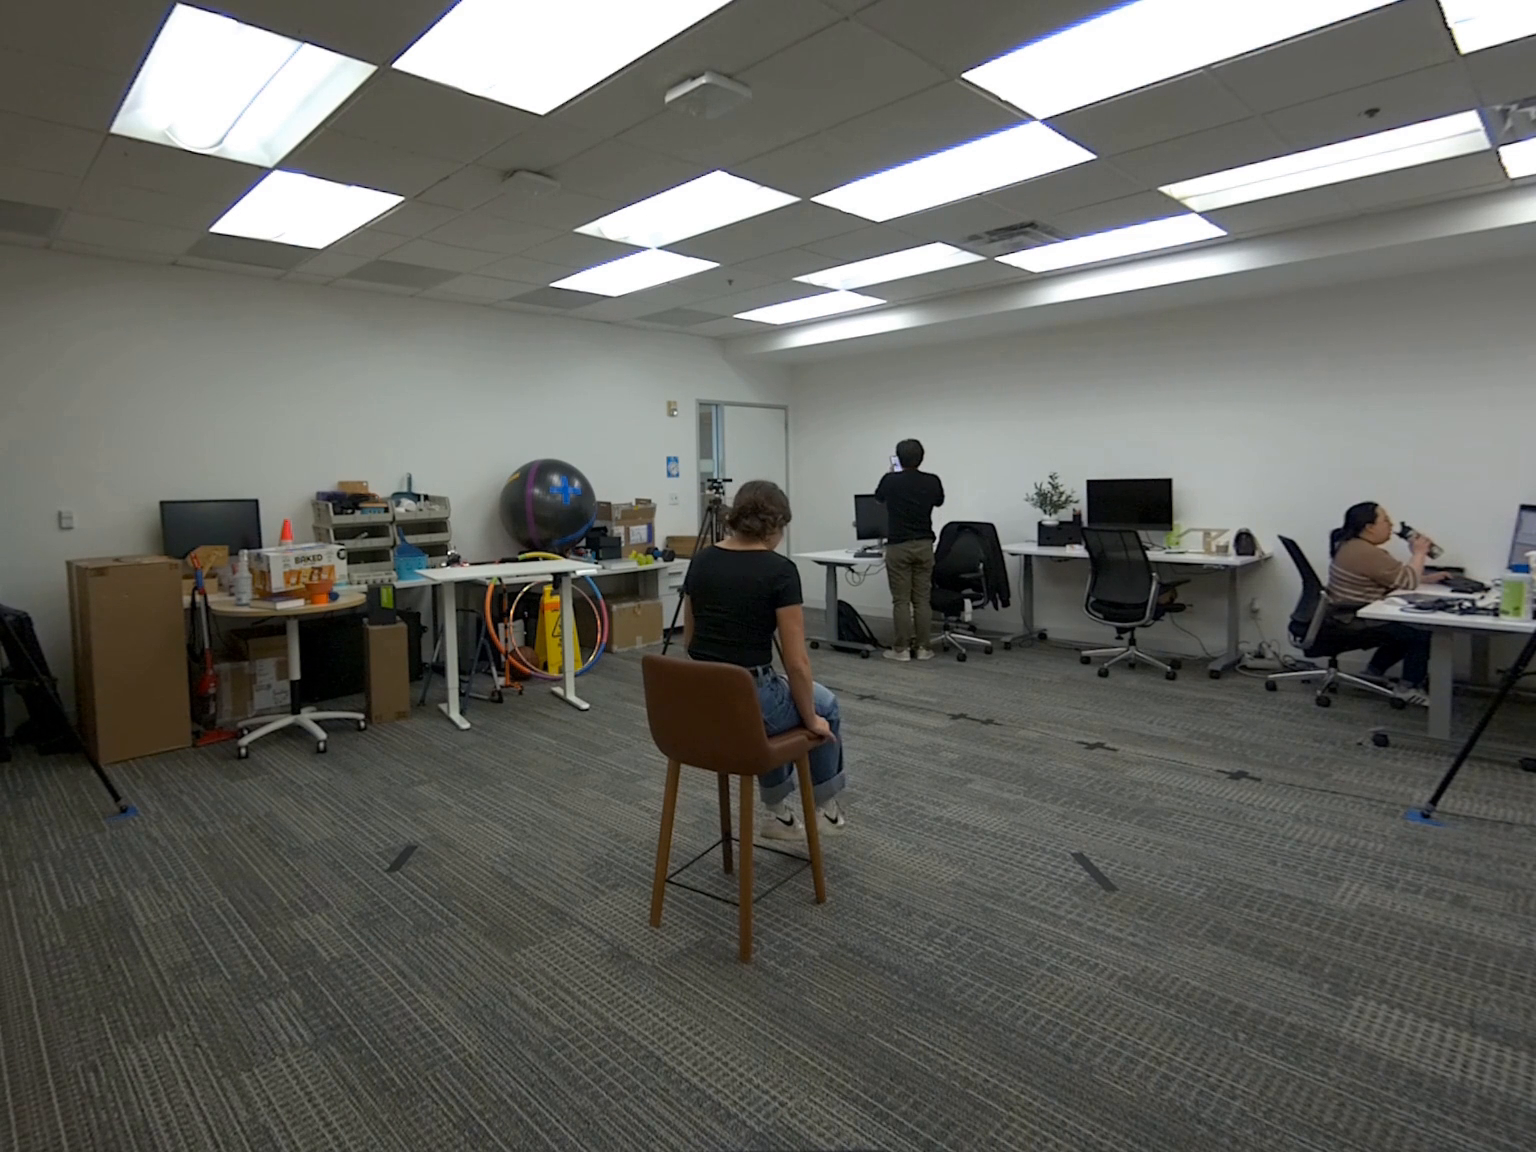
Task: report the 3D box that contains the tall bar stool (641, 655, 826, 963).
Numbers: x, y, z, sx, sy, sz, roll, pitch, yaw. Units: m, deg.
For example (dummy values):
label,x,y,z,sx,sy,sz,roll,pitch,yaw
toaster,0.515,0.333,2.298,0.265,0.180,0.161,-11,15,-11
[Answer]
label,x,y,z,sx,sy,sz,roll,pitch,yaw
tall bar stool,-0.112,0.659,2.724,0.469,0.885,0.457,2,6,35
